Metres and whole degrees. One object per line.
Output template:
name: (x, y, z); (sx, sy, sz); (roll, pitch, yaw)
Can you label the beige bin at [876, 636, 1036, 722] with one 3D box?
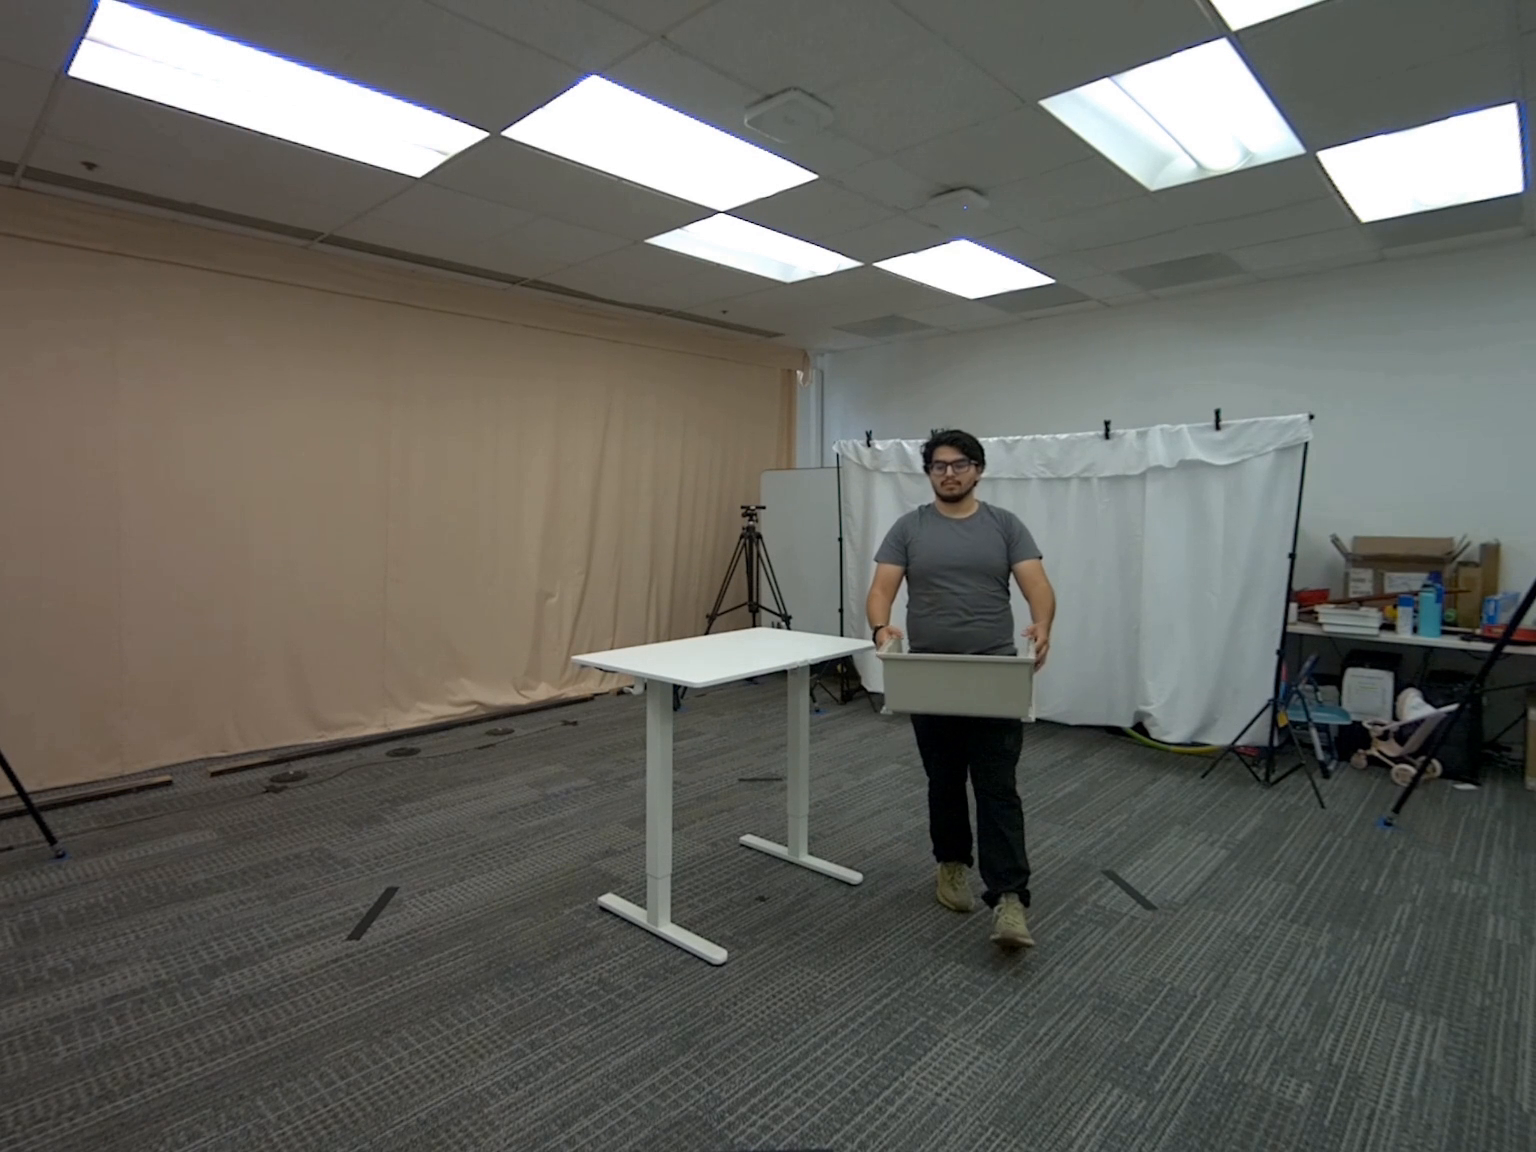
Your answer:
beige bin: (0.565, 0.282, 2.492); (0.431, 0.188, 0.372); (1, 9, 19)
